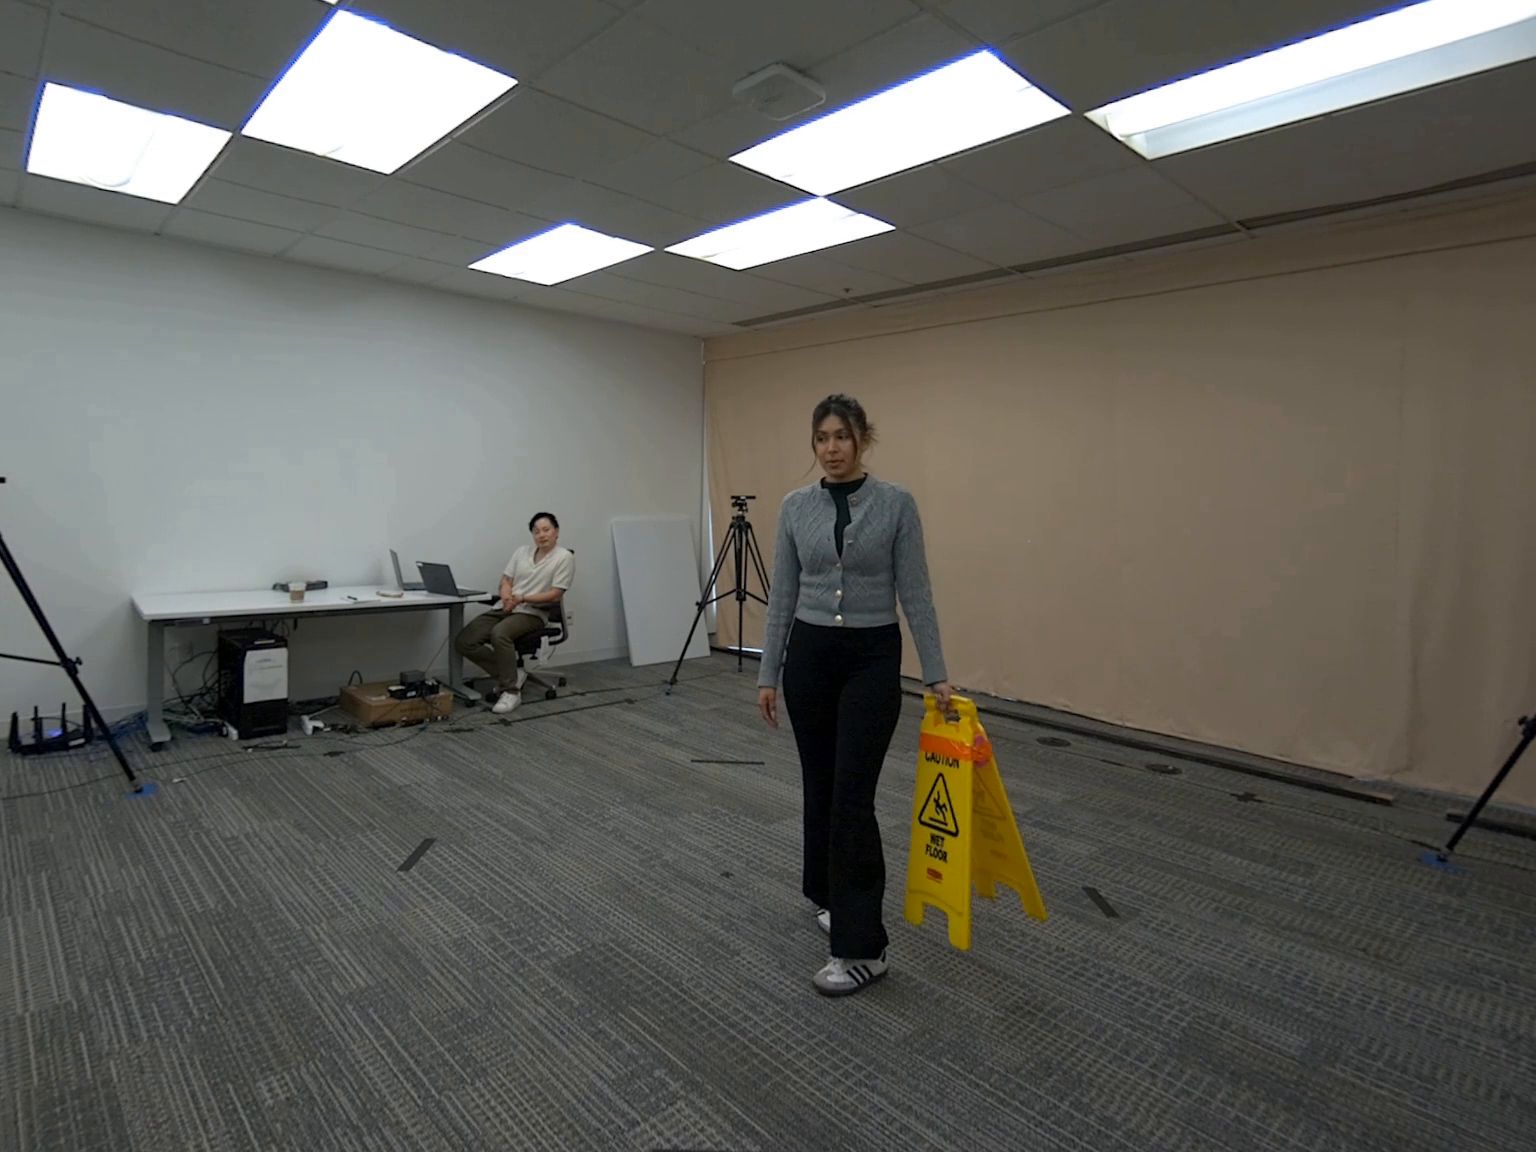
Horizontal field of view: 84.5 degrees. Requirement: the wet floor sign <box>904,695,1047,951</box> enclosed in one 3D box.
[{"bbox_3d":[0.552,0.670,2.425,0.285,0.647,0.286,-6,-2,-26],"label":"wet floor sign"}]
